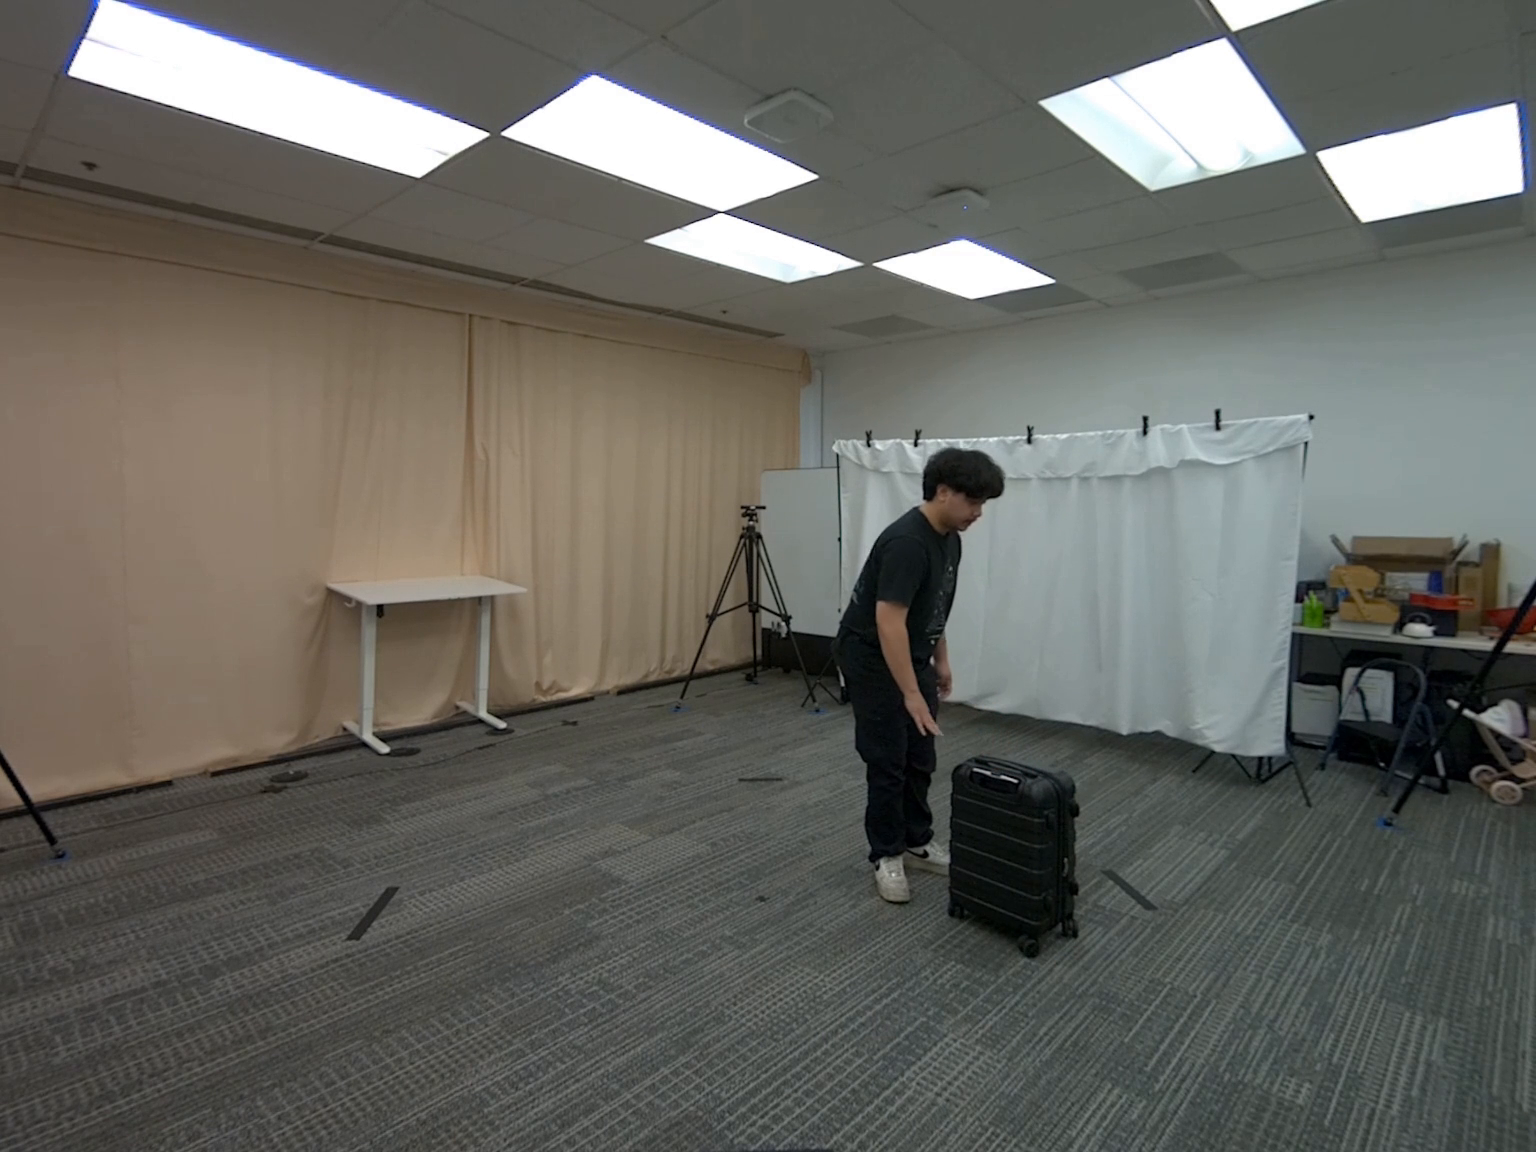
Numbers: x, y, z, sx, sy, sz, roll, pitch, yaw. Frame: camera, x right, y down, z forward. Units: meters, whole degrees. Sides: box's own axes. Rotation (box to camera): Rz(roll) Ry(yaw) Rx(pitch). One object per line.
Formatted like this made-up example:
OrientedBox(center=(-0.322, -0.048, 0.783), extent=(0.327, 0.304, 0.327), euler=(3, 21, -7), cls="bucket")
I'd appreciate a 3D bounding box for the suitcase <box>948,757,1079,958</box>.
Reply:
OrientedBox(center=(0.815, 0.884, 2.775), extent=(0.241, 0.548, 0.388), euler=(-2, 4, -41), cls="suitcase")
